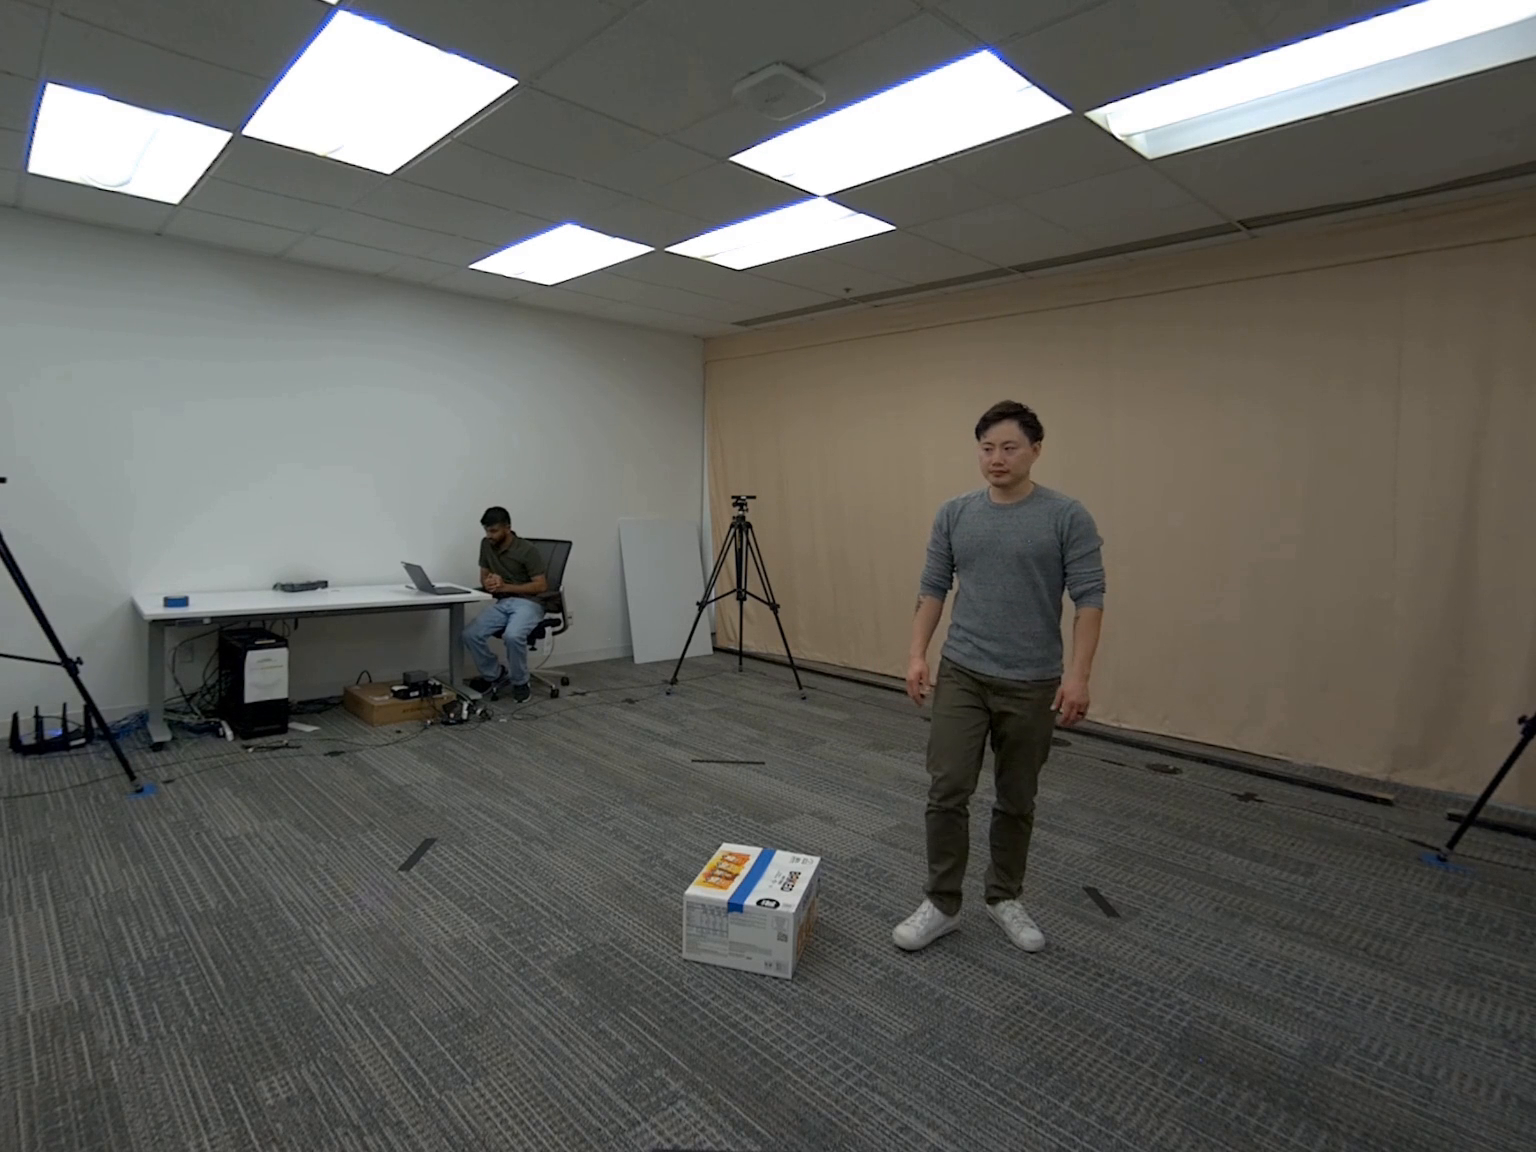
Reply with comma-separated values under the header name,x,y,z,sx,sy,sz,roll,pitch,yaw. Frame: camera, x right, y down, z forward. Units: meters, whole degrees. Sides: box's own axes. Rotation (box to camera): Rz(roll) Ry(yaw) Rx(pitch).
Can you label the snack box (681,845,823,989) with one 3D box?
name,x,y,z,sx,sy,sz,roll,pitch,yaw
snack box,-0.040,1.047,2.652,0.345,0.205,0.401,3,5,16
